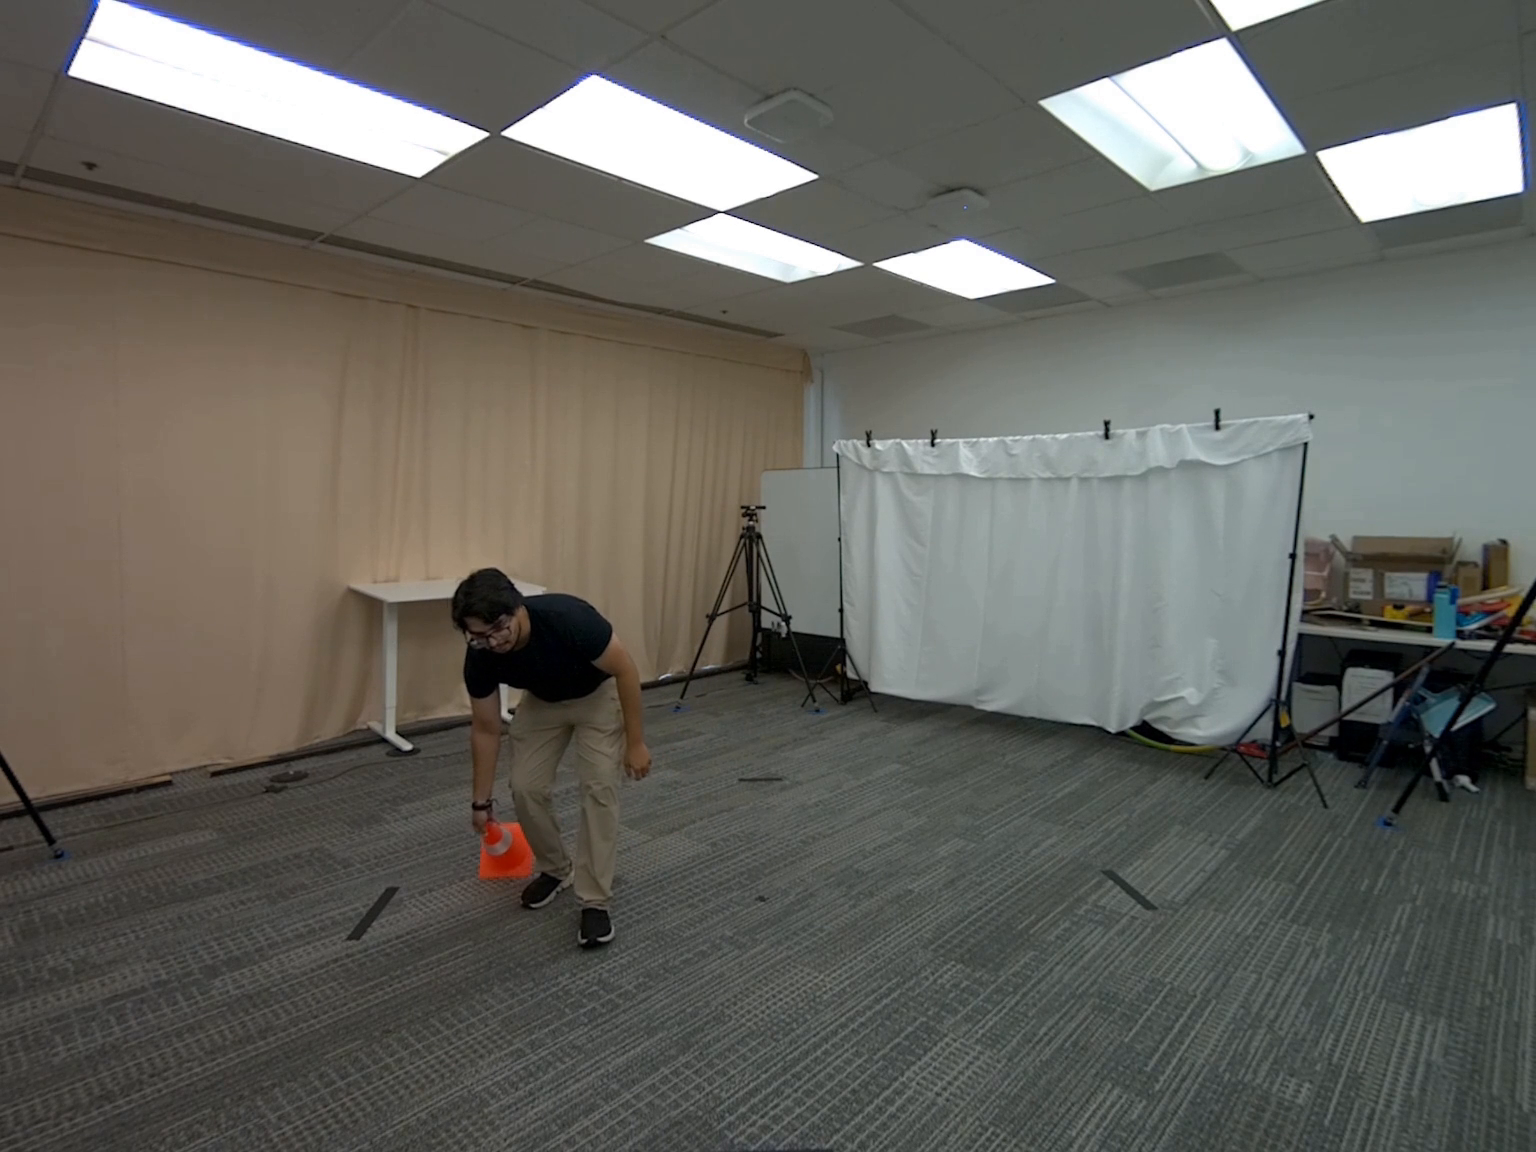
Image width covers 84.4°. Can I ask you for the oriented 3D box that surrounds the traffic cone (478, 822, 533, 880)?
[{"bbox_3d":[-0.999,0.961,3.065,0.202,0.209,0.378,-1,-30,-5],"label":"traffic cone"}]
